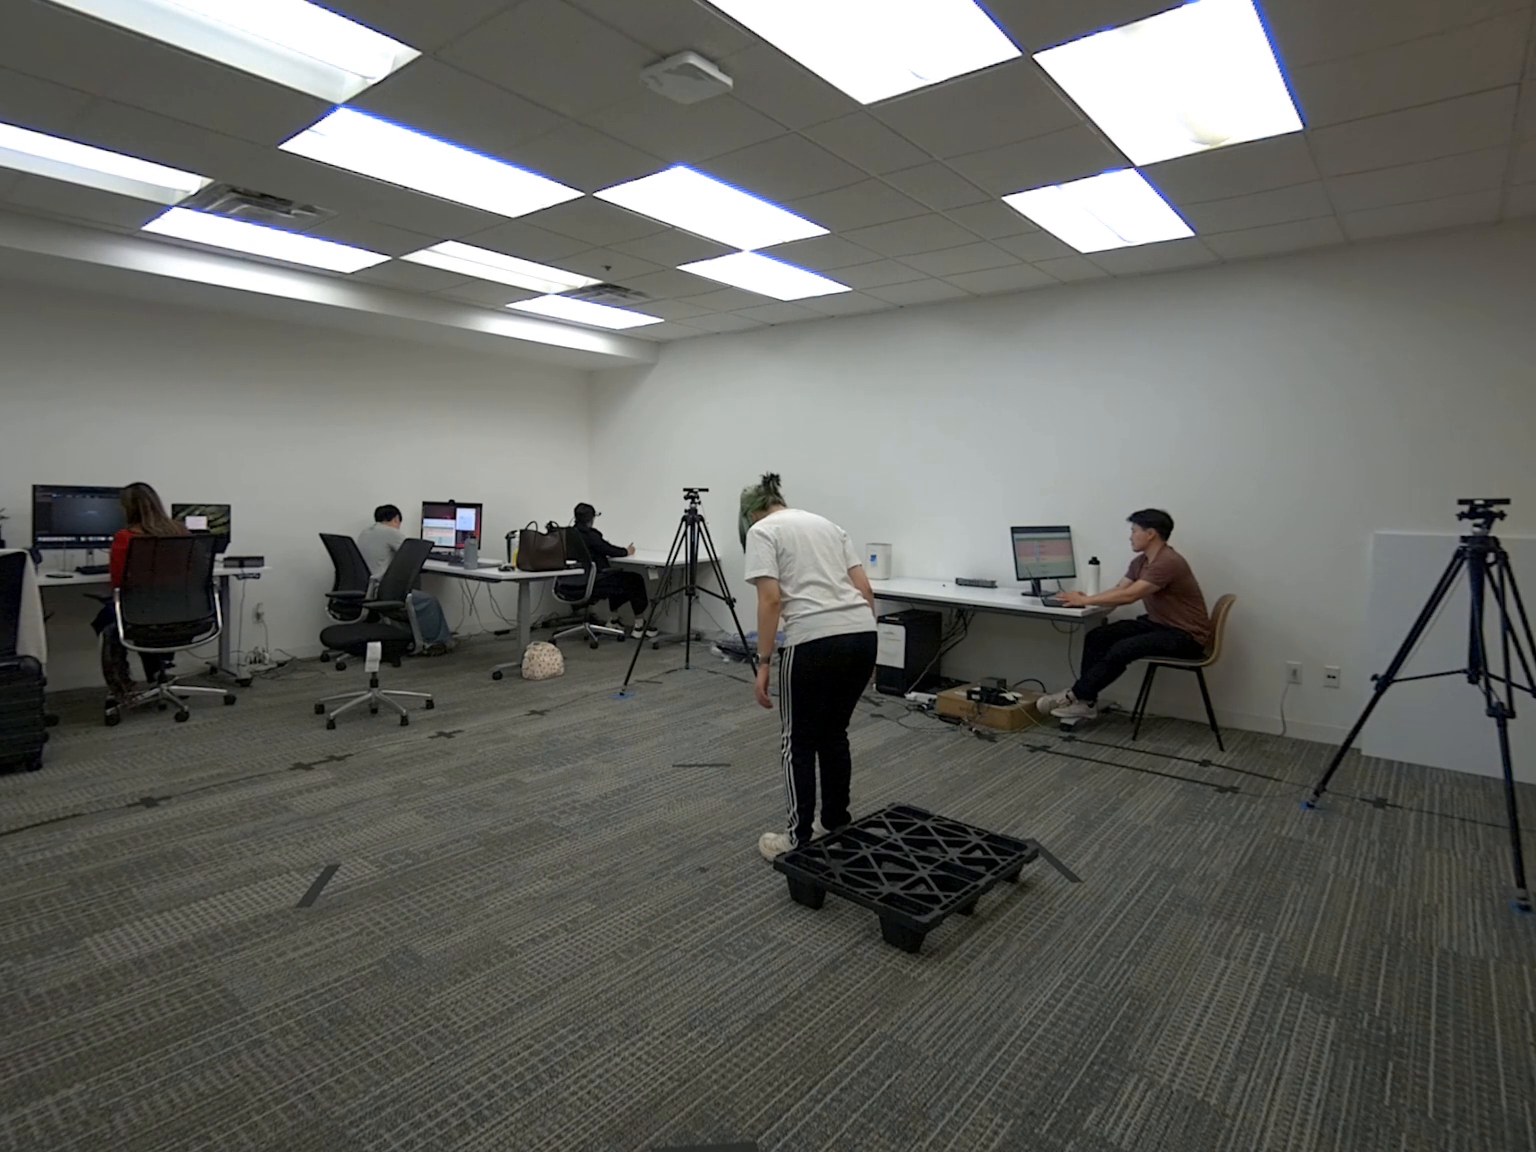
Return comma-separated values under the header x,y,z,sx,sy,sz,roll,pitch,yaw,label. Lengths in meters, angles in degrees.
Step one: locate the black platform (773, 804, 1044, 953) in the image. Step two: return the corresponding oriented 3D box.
x,y,z,sx,sy,sz,roll,pitch,yaw,label
0.481,1.029,2.987,0.626,0.143,0.781,5,7,42,black platform
